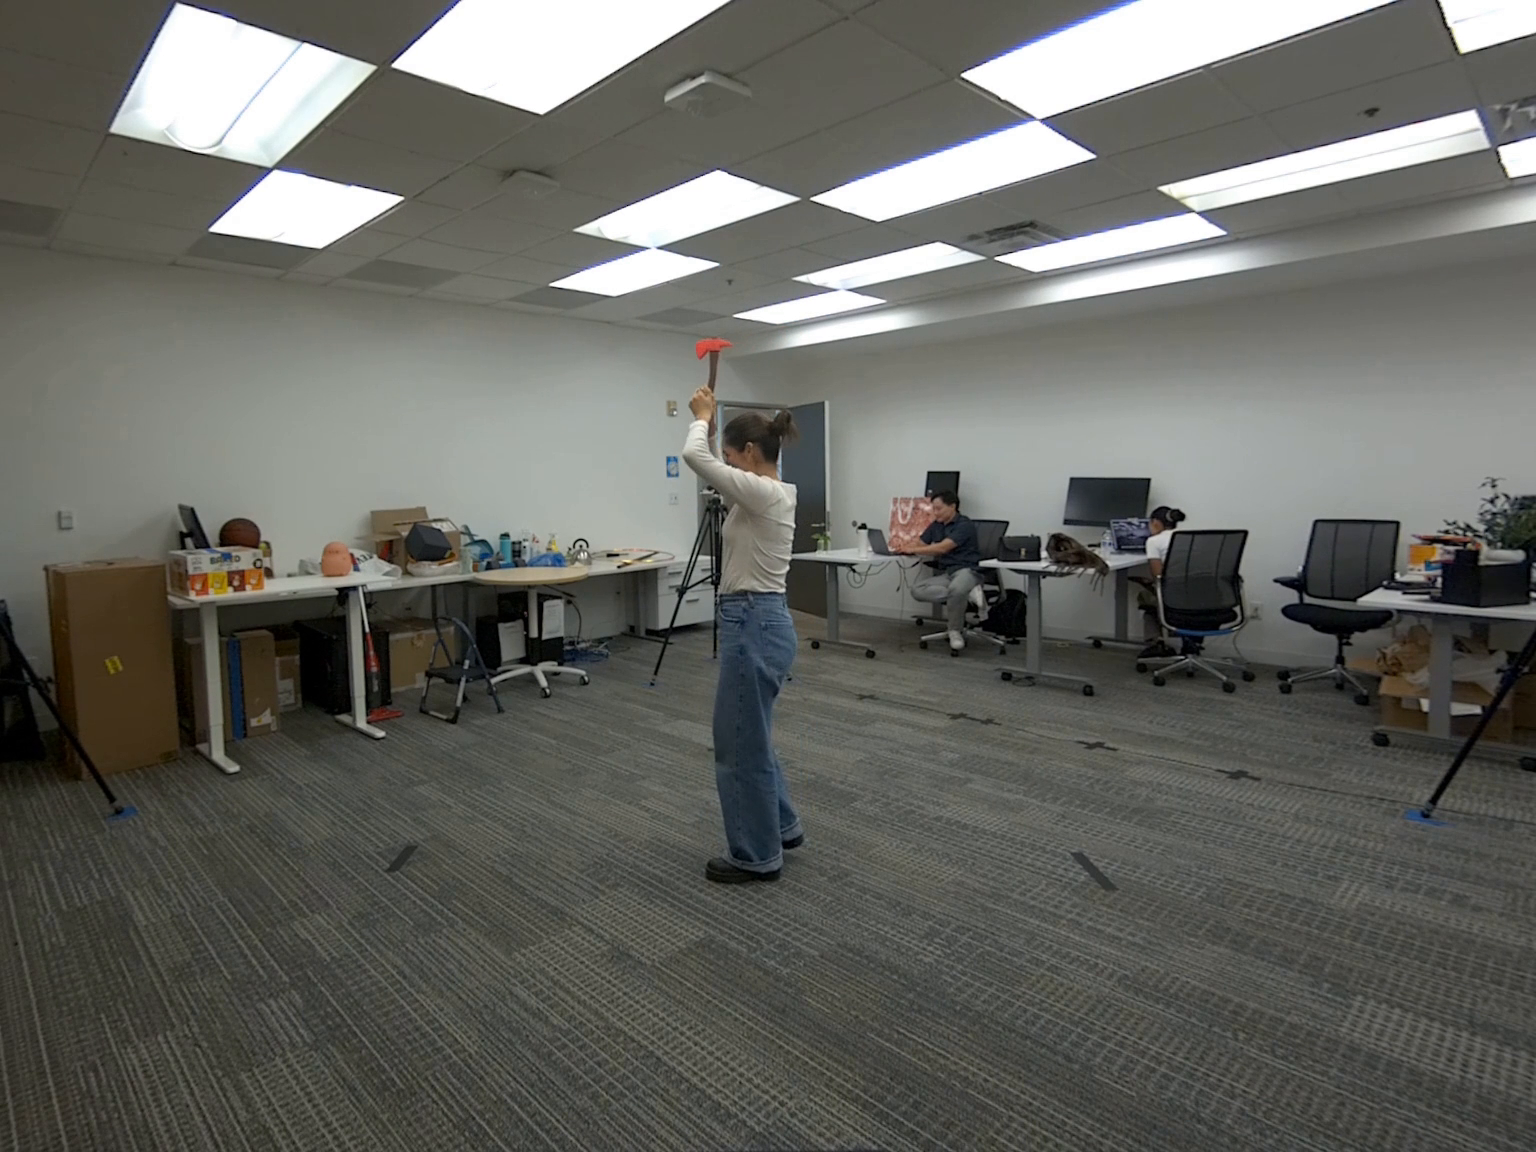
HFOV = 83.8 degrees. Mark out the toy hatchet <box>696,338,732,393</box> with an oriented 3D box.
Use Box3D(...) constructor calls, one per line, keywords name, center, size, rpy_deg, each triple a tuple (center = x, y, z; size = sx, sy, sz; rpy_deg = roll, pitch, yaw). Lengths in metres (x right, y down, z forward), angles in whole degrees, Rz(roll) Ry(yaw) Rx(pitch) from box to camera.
Box3D(name="toy hatchet", center=(-0.226, -0.711, 2.989), size=(0.133, 0.270, 0.029), rpy_deg=(20, 2, 13))
